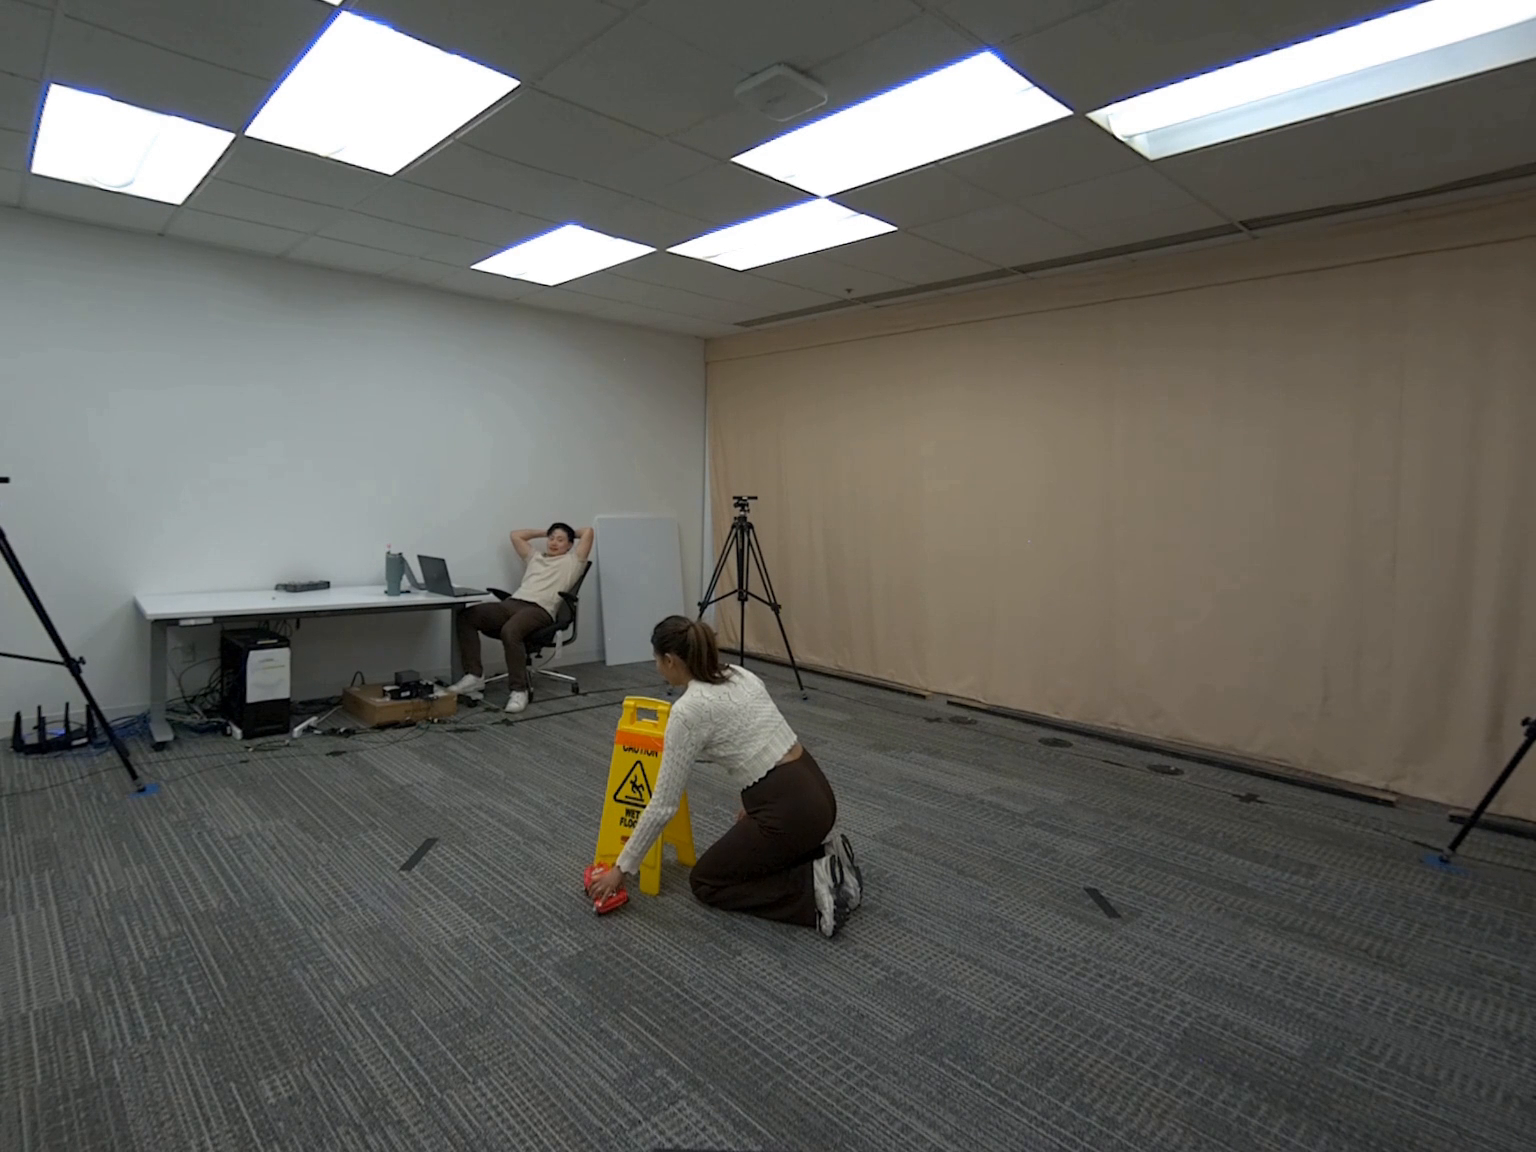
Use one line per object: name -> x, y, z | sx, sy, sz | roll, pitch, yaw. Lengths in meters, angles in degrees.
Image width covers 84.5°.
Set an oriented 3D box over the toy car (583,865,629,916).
toy car -> -0.567, 1.057, 2.884 | 0.129, 0.081, 0.262 | -21, 26, -20
